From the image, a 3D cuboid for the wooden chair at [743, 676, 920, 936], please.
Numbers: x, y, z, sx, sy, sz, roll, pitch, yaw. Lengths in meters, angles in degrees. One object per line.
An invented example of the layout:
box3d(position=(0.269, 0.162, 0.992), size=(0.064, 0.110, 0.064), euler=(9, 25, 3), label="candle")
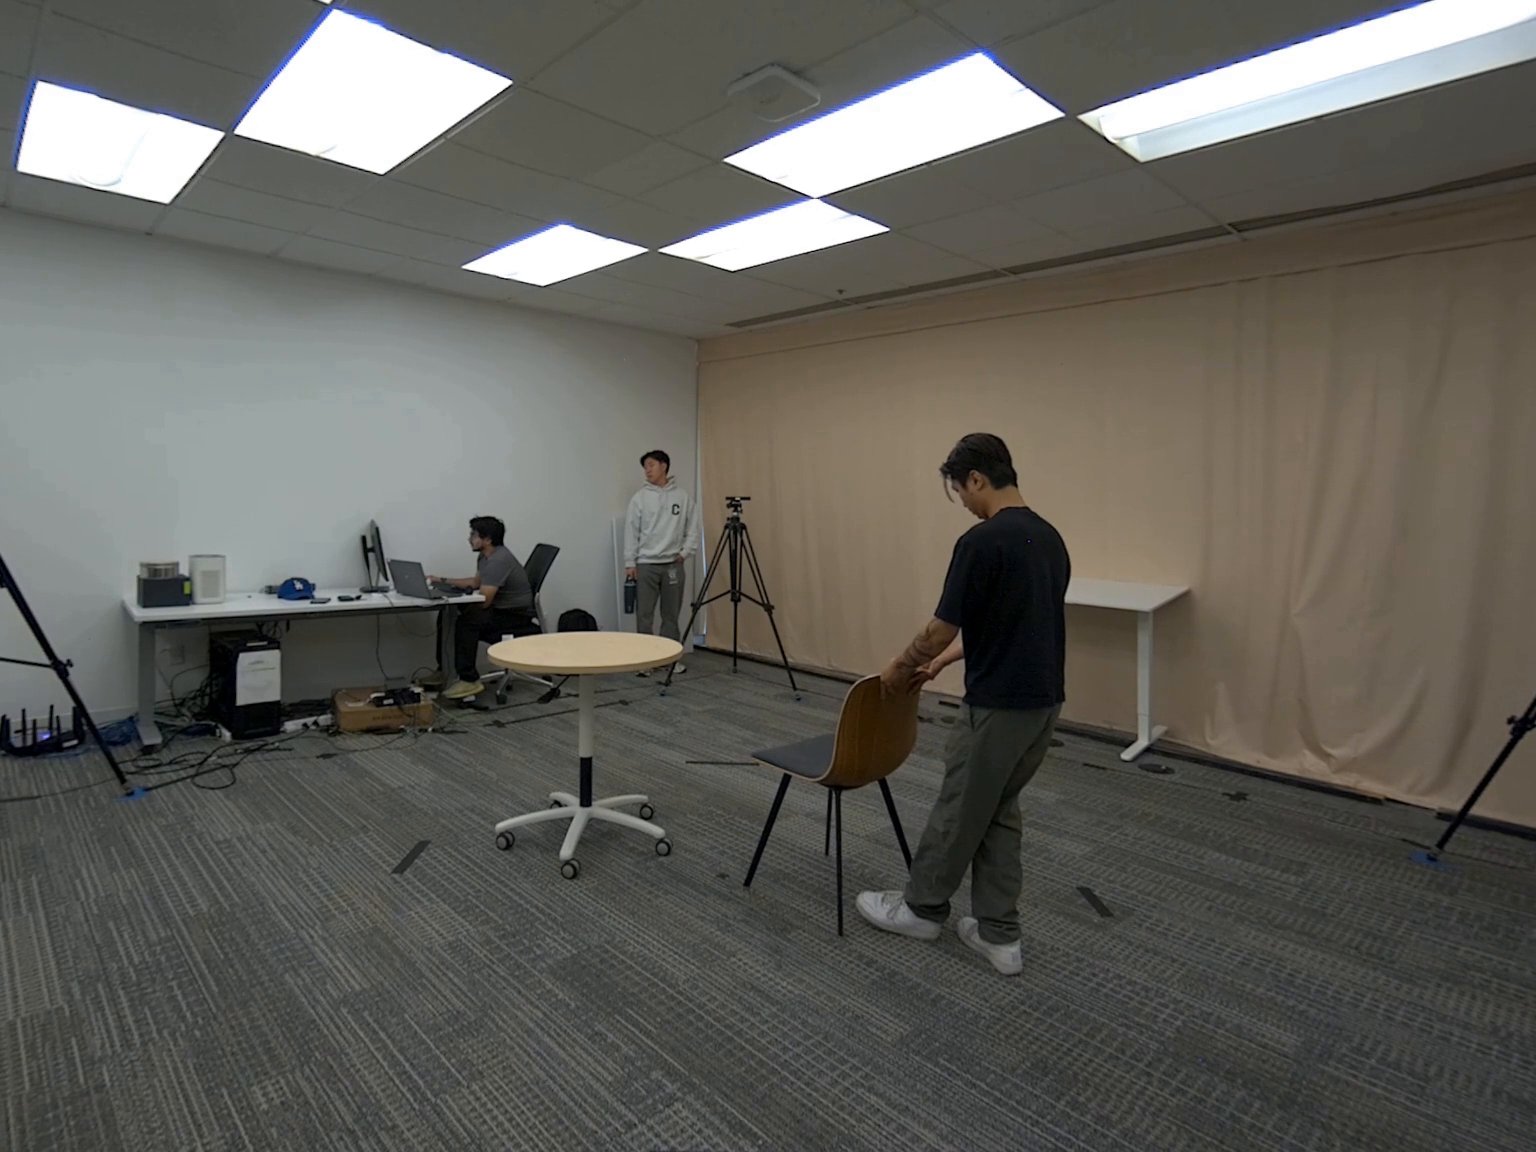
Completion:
box3d(position=(0.229, 0.700, 2.976), size=(0.467, 0.873, 0.538), euler=(-2, 9, -43), label="wooden chair")
